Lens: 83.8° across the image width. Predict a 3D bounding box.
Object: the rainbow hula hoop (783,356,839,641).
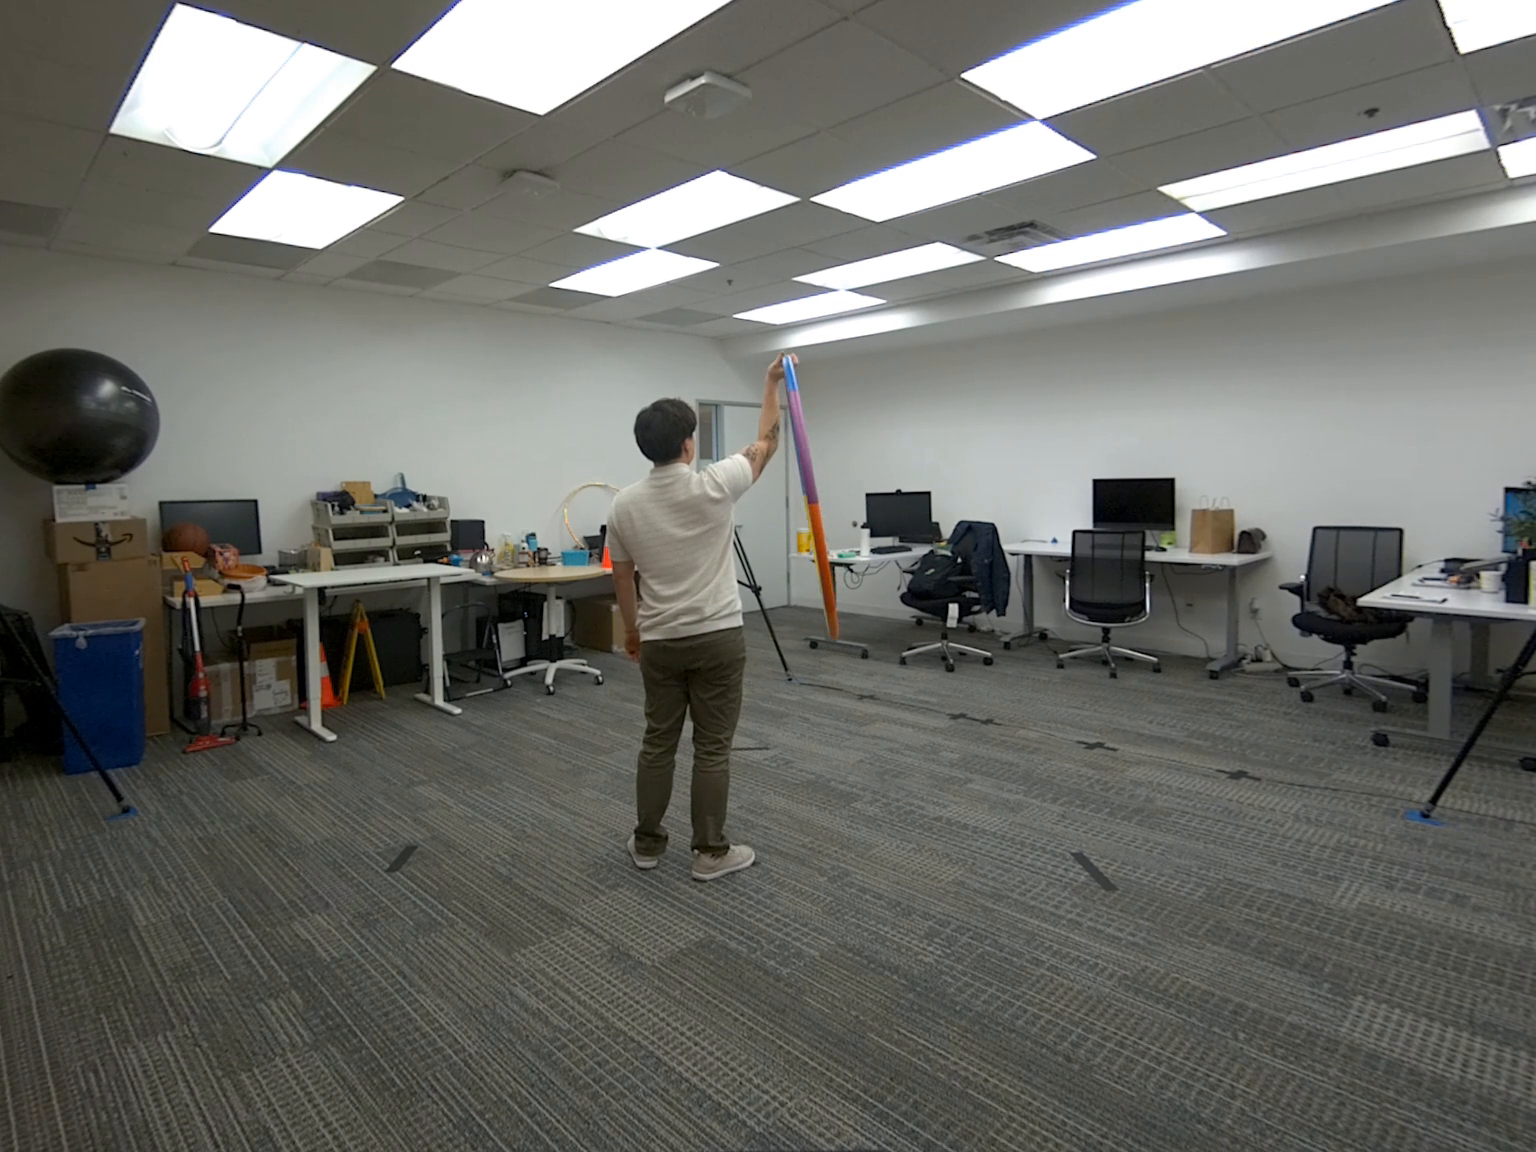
[{"bbox_3d":[0.138,-0.271,3.000,0.036,0.975,0.979,-8,4,3],"label":"rainbow hula hoop"}]
